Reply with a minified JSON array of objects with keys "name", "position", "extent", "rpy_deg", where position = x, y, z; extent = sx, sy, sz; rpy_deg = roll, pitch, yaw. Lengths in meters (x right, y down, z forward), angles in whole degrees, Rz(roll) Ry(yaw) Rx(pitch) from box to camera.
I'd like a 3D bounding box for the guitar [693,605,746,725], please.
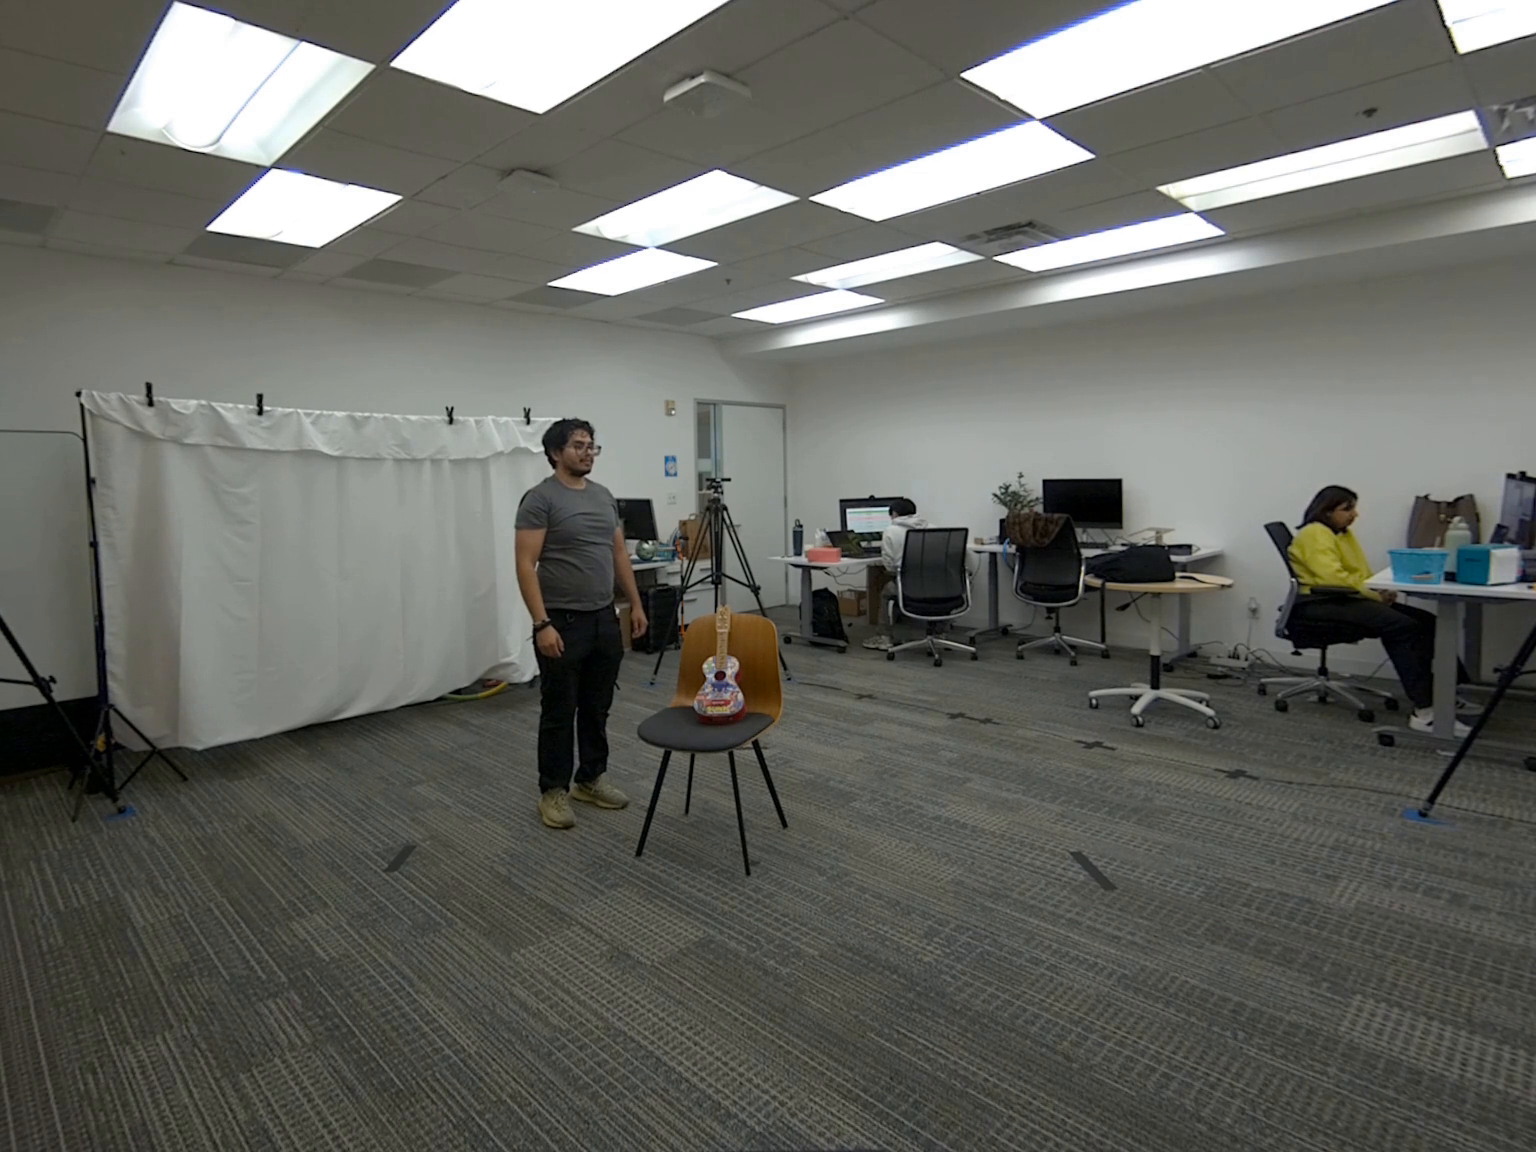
[{"name":"guitar","position":[-0.161,0.341,3.345],"extent":[0.195,0.508,0.068],"rpy_deg":[0,-37,12]}]
